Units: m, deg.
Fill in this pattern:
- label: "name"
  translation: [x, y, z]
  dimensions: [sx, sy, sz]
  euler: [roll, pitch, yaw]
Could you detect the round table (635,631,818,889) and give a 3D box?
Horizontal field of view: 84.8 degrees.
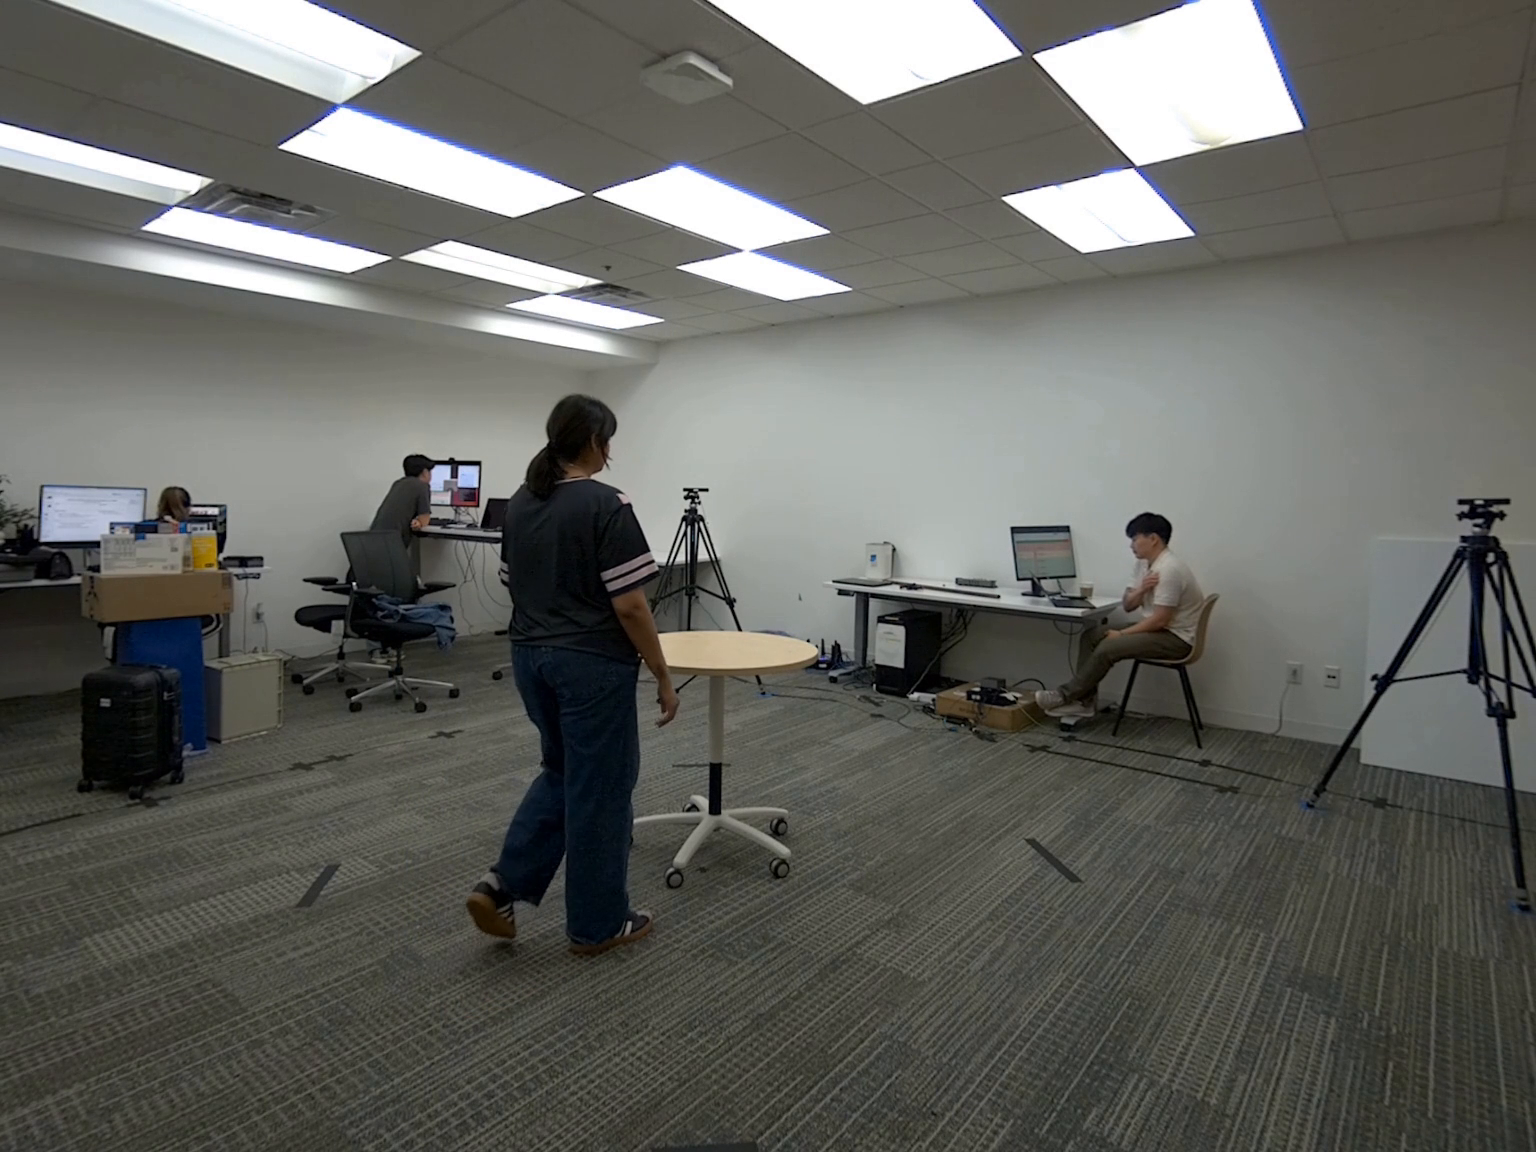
- label: "round table"
  translation: [-0.197, 0.661, 3.270]
  dimensions: [0.784, 0.784, 0.789]
  euler: [1, 4, -2]
